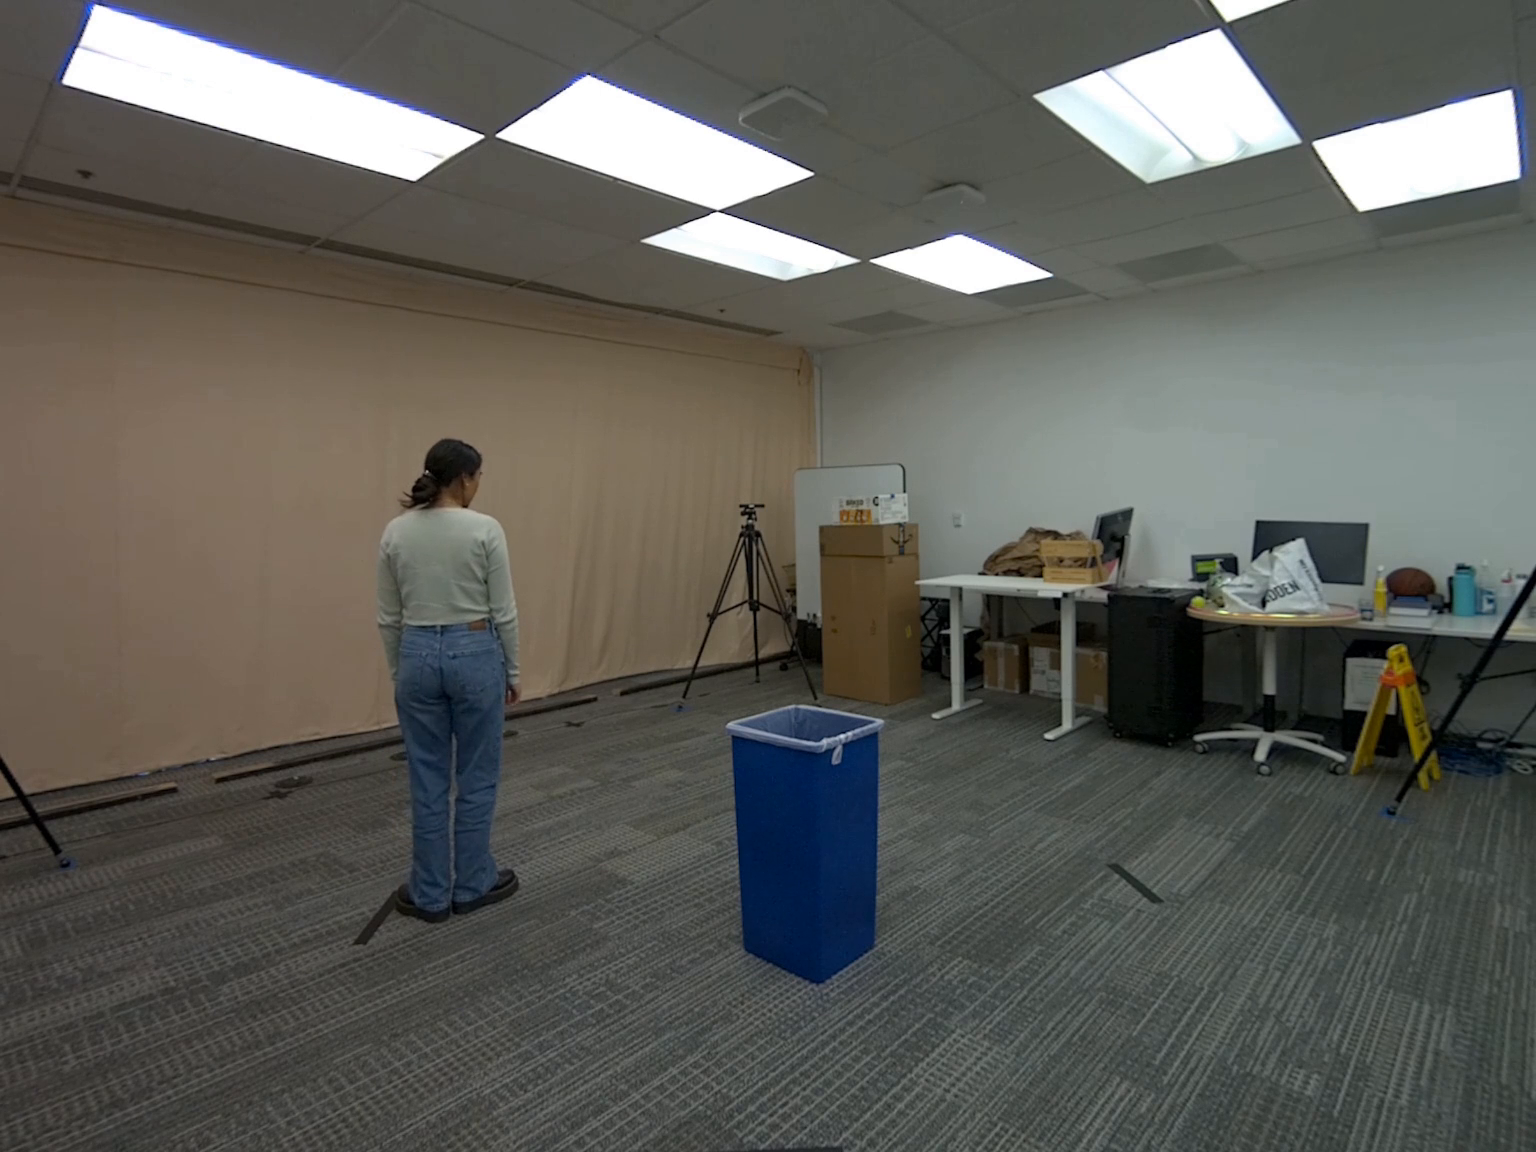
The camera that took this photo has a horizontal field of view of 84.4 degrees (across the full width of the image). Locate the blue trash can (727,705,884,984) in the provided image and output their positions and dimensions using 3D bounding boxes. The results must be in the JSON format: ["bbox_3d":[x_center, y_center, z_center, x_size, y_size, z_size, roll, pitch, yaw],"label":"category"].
[{"bbox_3d":[0.120,0.811,2.624,0.386,0.712,0.366,2,4,41],"label":"blue trash can"}]
